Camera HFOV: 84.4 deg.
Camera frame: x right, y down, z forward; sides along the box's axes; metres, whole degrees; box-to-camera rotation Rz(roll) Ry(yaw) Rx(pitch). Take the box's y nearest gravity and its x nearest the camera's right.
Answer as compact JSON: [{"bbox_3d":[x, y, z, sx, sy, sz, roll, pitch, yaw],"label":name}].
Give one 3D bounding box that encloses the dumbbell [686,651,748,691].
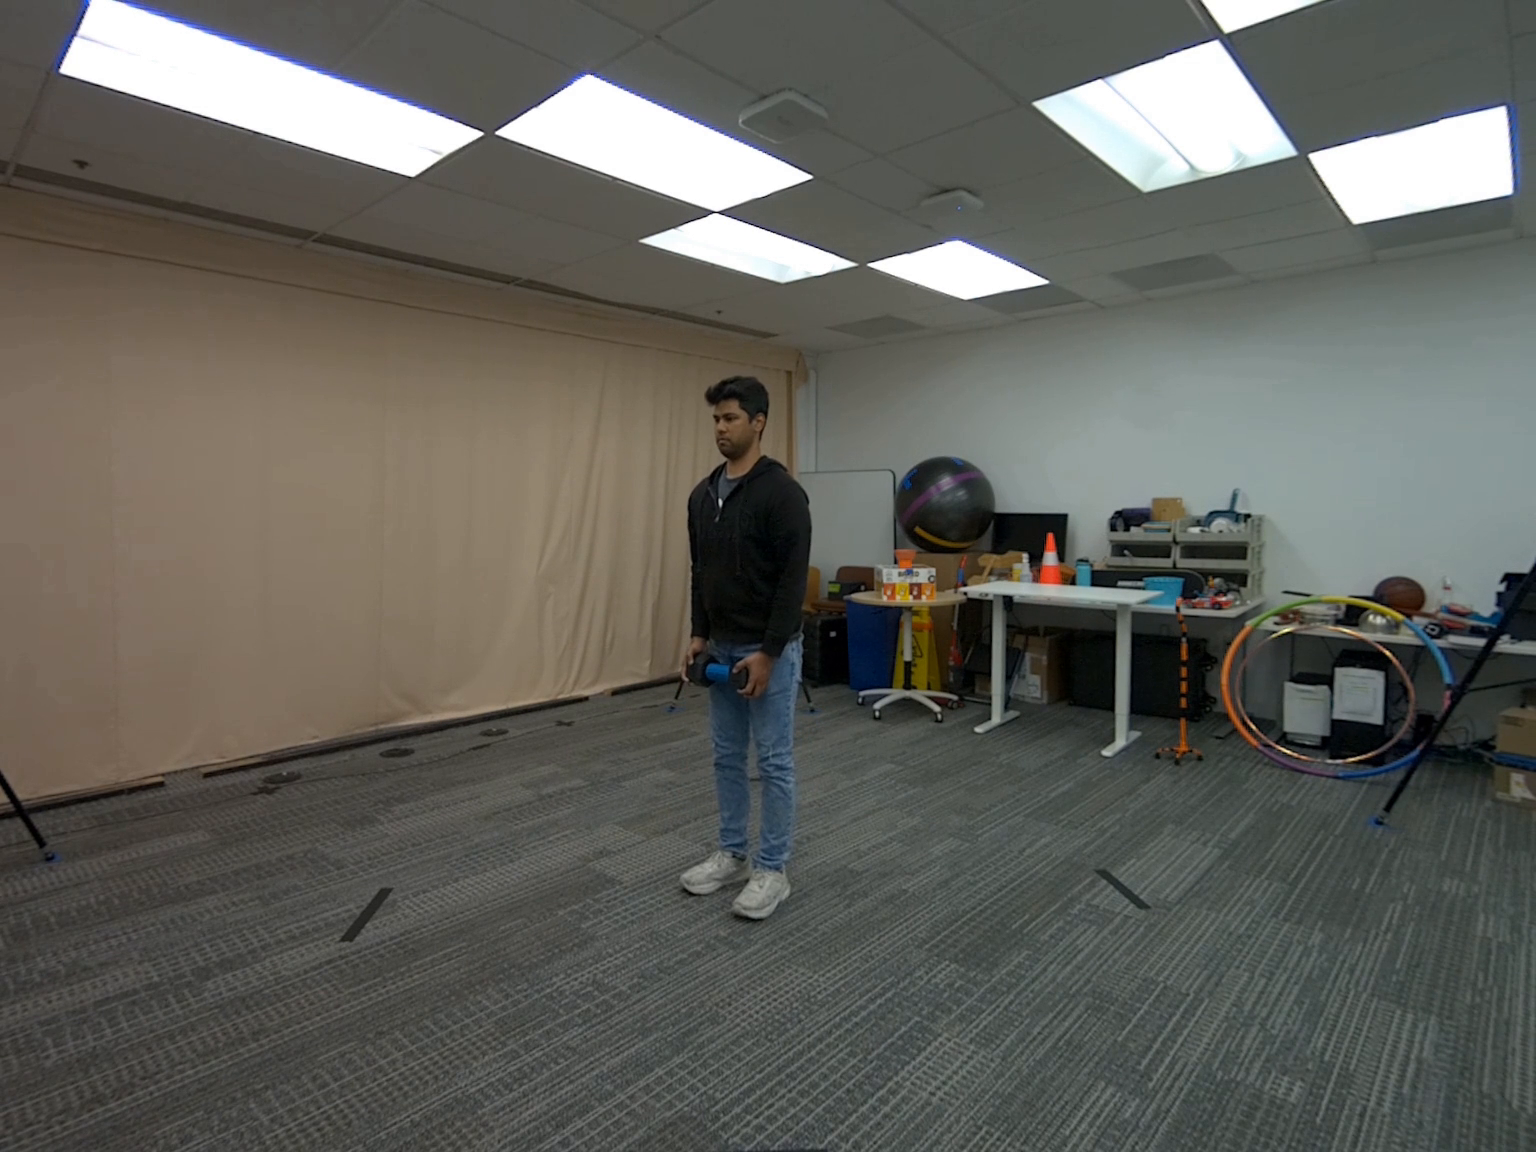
[{"bbox_3d":[-0.145,0.345,2.944,0.303,0.109,0.119,0,-29,47],"label":"dumbbell"}]
